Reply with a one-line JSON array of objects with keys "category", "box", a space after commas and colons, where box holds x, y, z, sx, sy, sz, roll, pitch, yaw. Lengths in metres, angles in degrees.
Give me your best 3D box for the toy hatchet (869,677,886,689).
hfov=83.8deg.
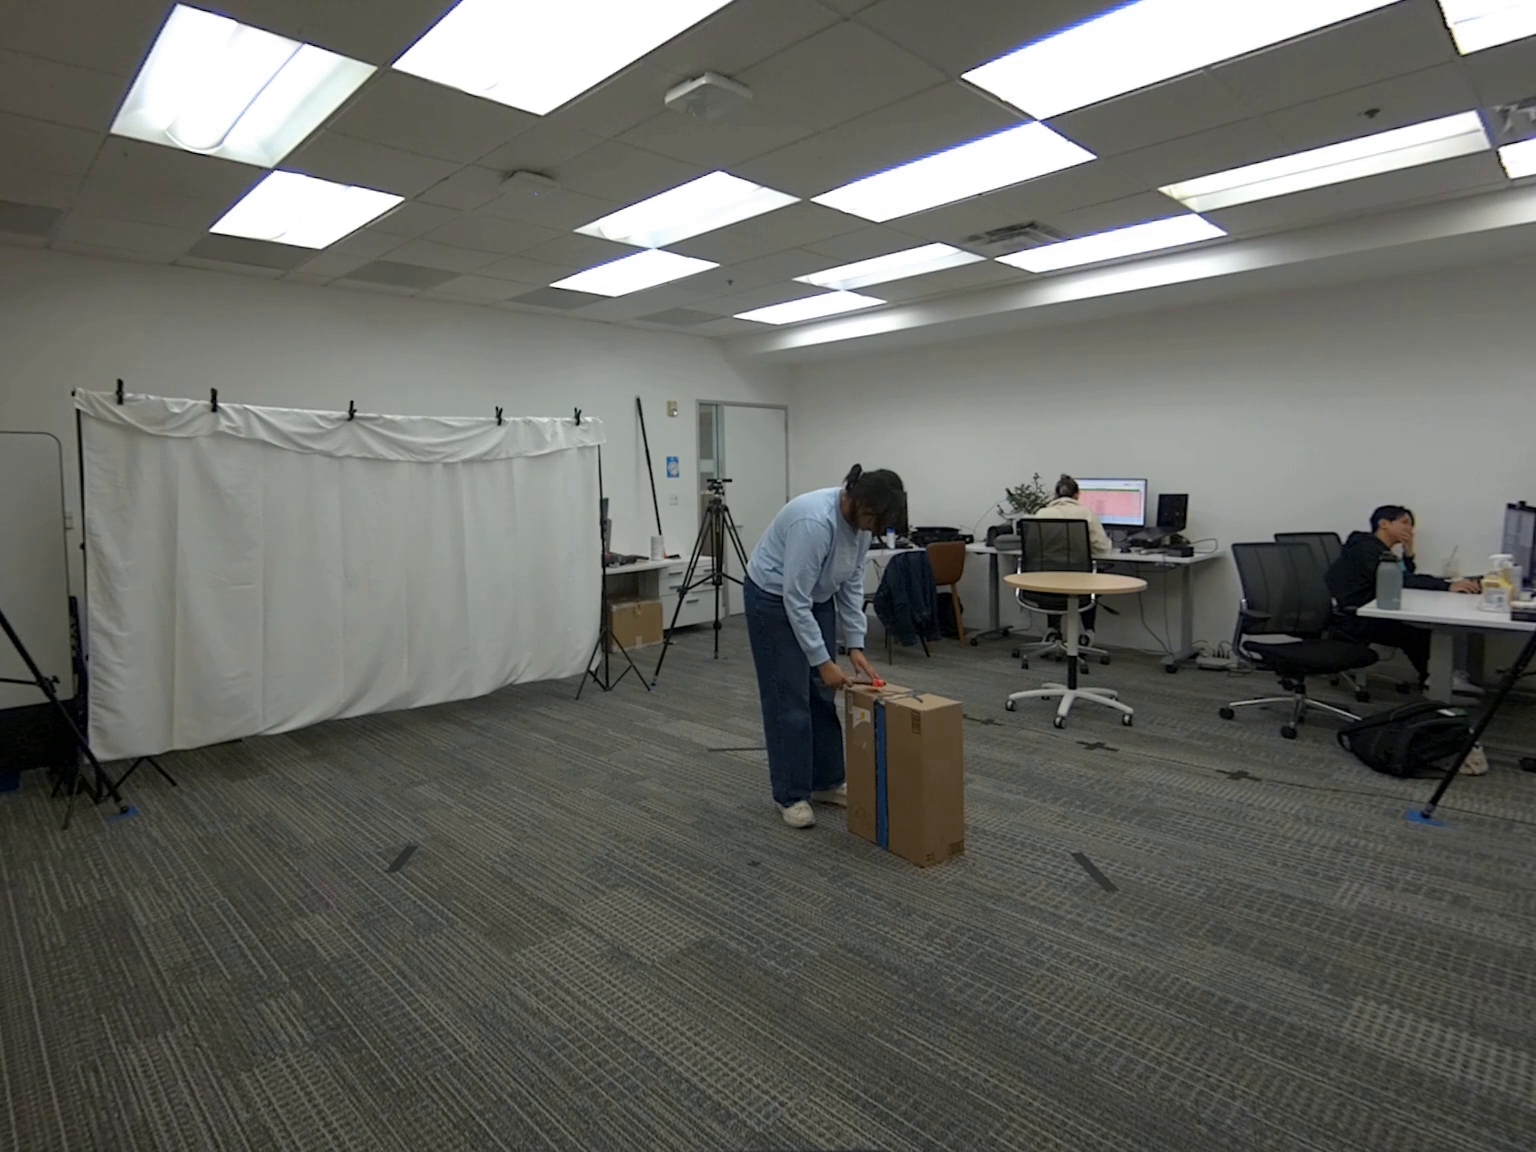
[{"category": "toy hatchet", "box": [0.326, 0.423, 3.364, 0.276, 0.030, 0.127, 0, -7, 23]}]
